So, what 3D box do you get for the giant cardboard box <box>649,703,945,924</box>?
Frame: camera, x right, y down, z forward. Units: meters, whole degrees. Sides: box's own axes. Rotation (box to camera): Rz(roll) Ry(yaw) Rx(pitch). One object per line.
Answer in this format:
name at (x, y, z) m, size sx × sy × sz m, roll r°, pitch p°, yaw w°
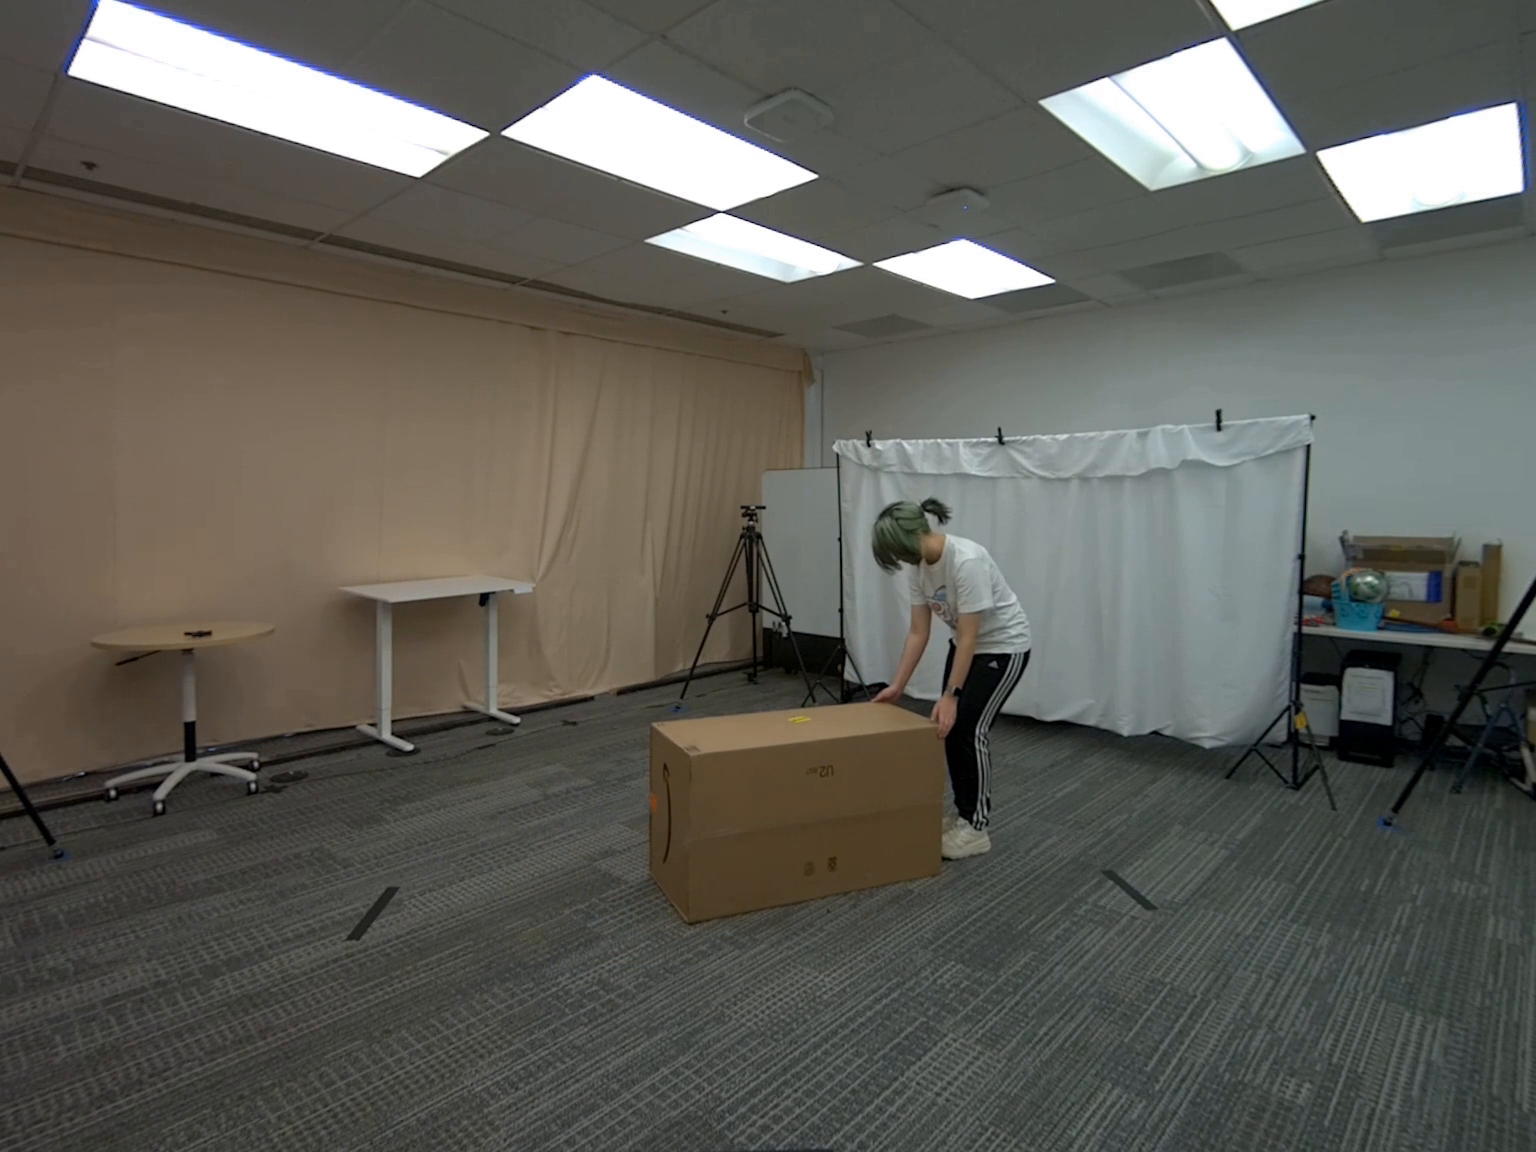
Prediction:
giant cardboard box at (0.107, 0.839, 3.163) m, size 1.004 × 0.583 × 0.458 m, roll -1°, pitch 3°, yaw -23°
